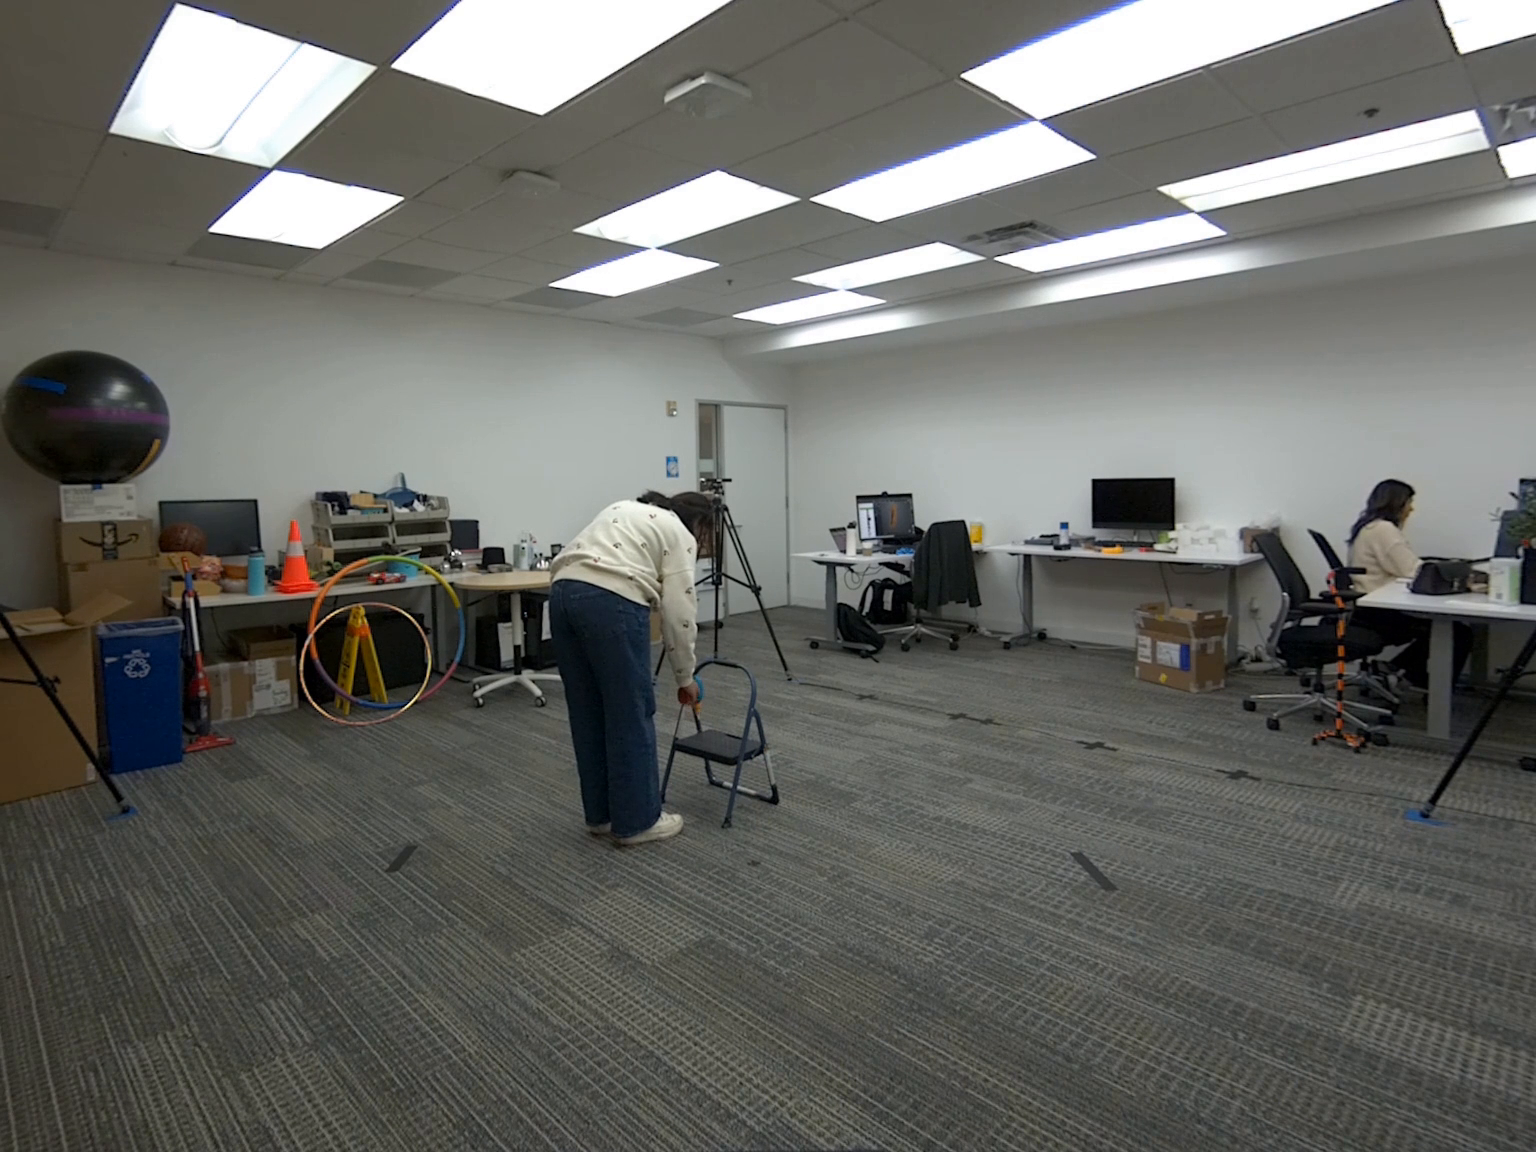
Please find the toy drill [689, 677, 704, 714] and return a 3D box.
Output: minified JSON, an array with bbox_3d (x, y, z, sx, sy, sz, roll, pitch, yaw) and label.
[{"bbox_3d":[-0.305,0.504,3.501,0.062,0.168,0.144,4,14,21],"label":"toy drill"}]
